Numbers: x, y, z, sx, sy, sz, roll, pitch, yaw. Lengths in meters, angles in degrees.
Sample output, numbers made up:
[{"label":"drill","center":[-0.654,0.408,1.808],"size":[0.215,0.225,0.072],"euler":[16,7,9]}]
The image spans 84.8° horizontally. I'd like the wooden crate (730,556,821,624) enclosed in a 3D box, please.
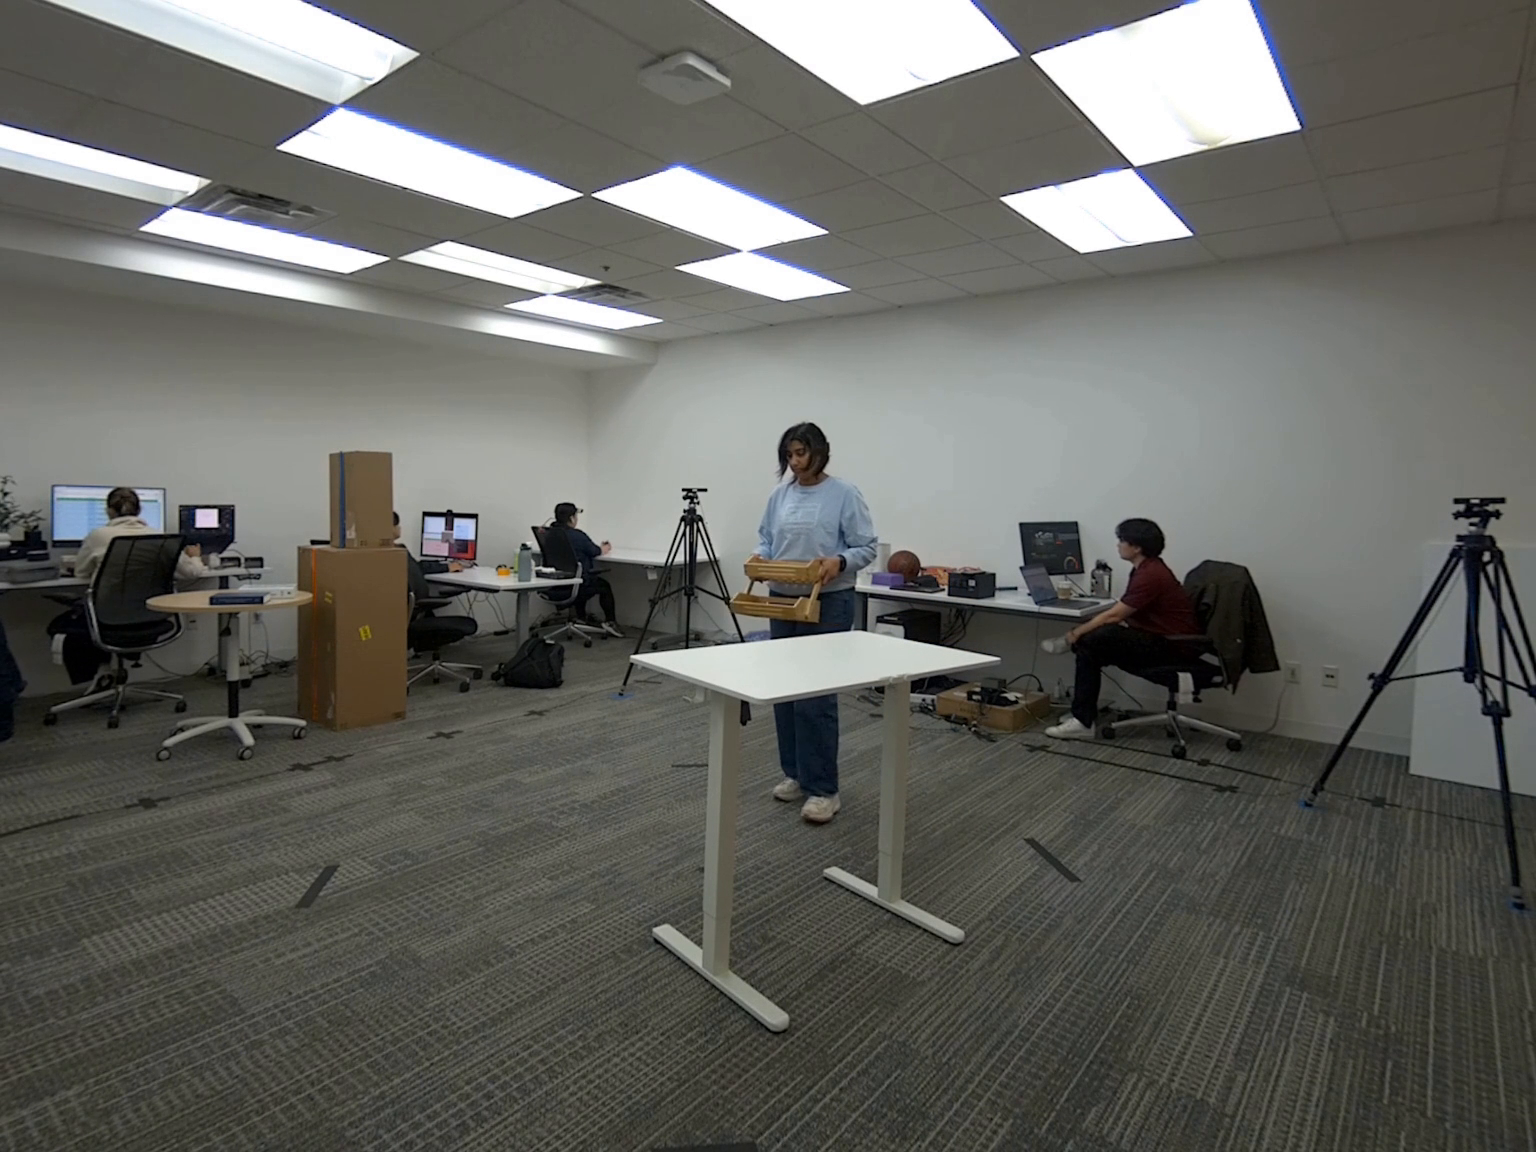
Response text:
[{"label":"wooden crate","center":[0.047,0.038,3.612],"size":[0.334,0.274,0.292],"euler":[4,-5,29]}]
